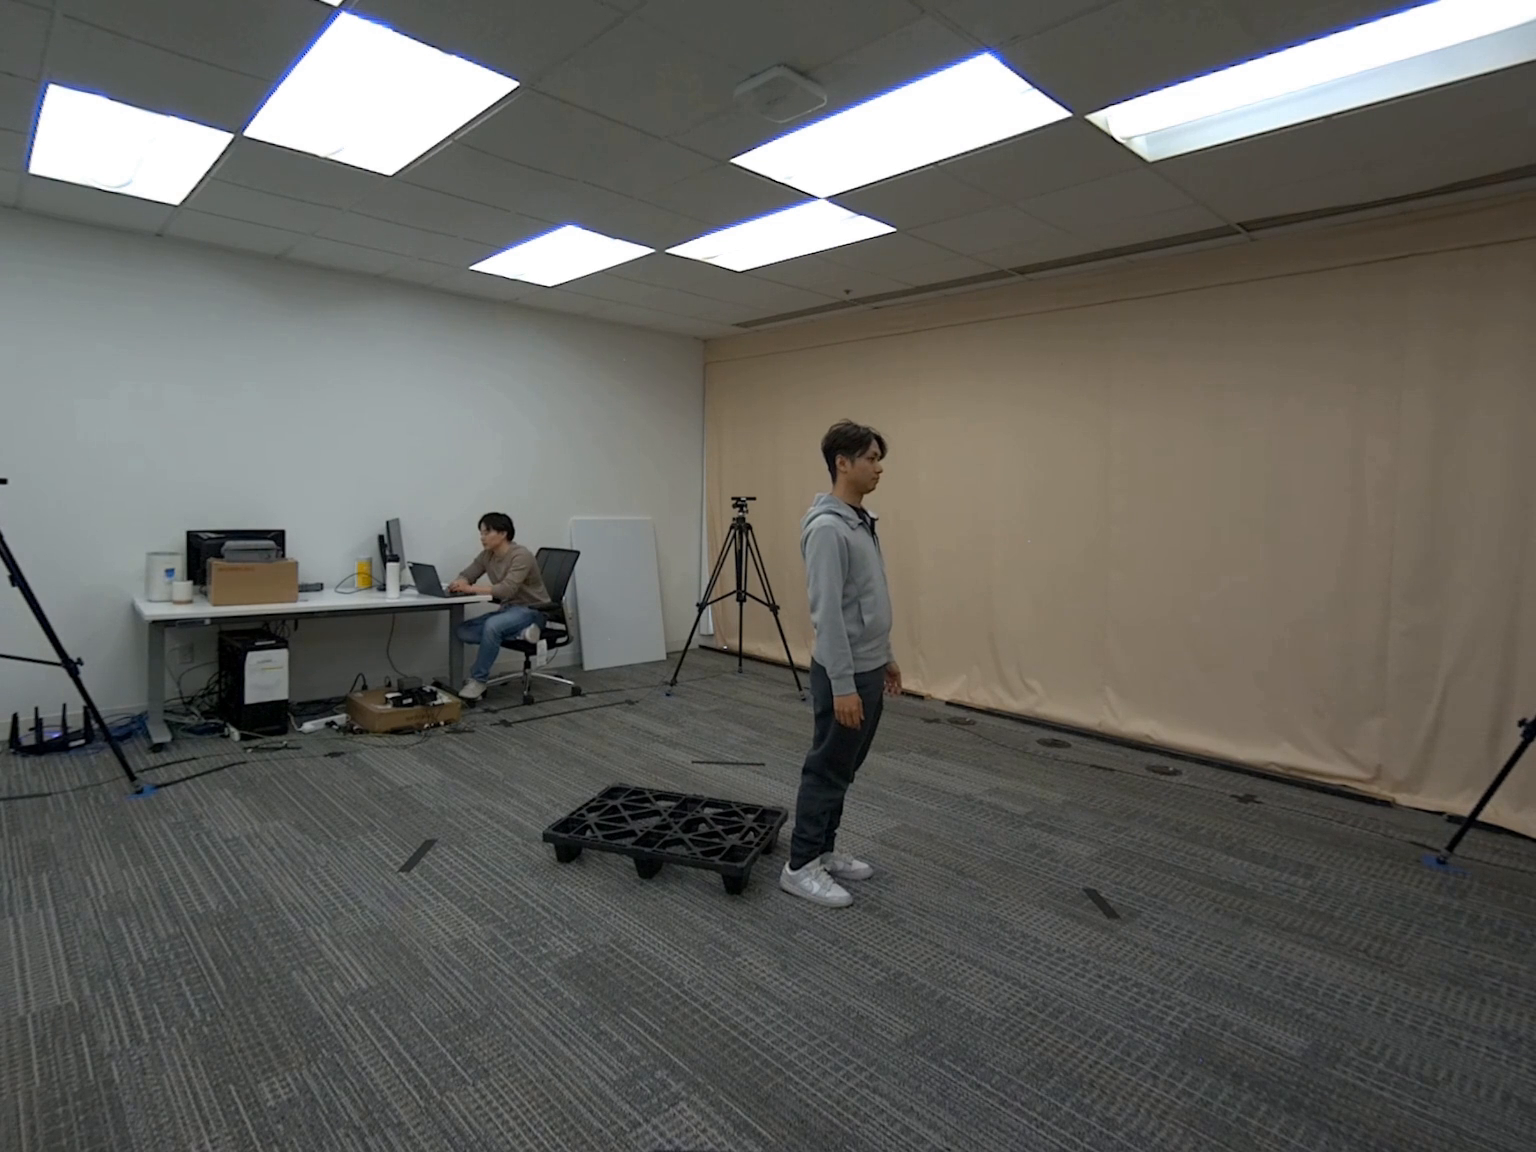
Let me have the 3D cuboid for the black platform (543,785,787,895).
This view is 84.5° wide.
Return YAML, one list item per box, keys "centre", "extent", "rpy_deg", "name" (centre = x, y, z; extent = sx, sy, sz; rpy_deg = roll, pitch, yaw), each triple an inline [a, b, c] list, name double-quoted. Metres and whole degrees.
- centre: [-0.385, 1.019, 3.285]
  extent: [0.818, 0.143, 0.598]
  rpy_deg: [3, 6, 18]
  name: "black platform"
